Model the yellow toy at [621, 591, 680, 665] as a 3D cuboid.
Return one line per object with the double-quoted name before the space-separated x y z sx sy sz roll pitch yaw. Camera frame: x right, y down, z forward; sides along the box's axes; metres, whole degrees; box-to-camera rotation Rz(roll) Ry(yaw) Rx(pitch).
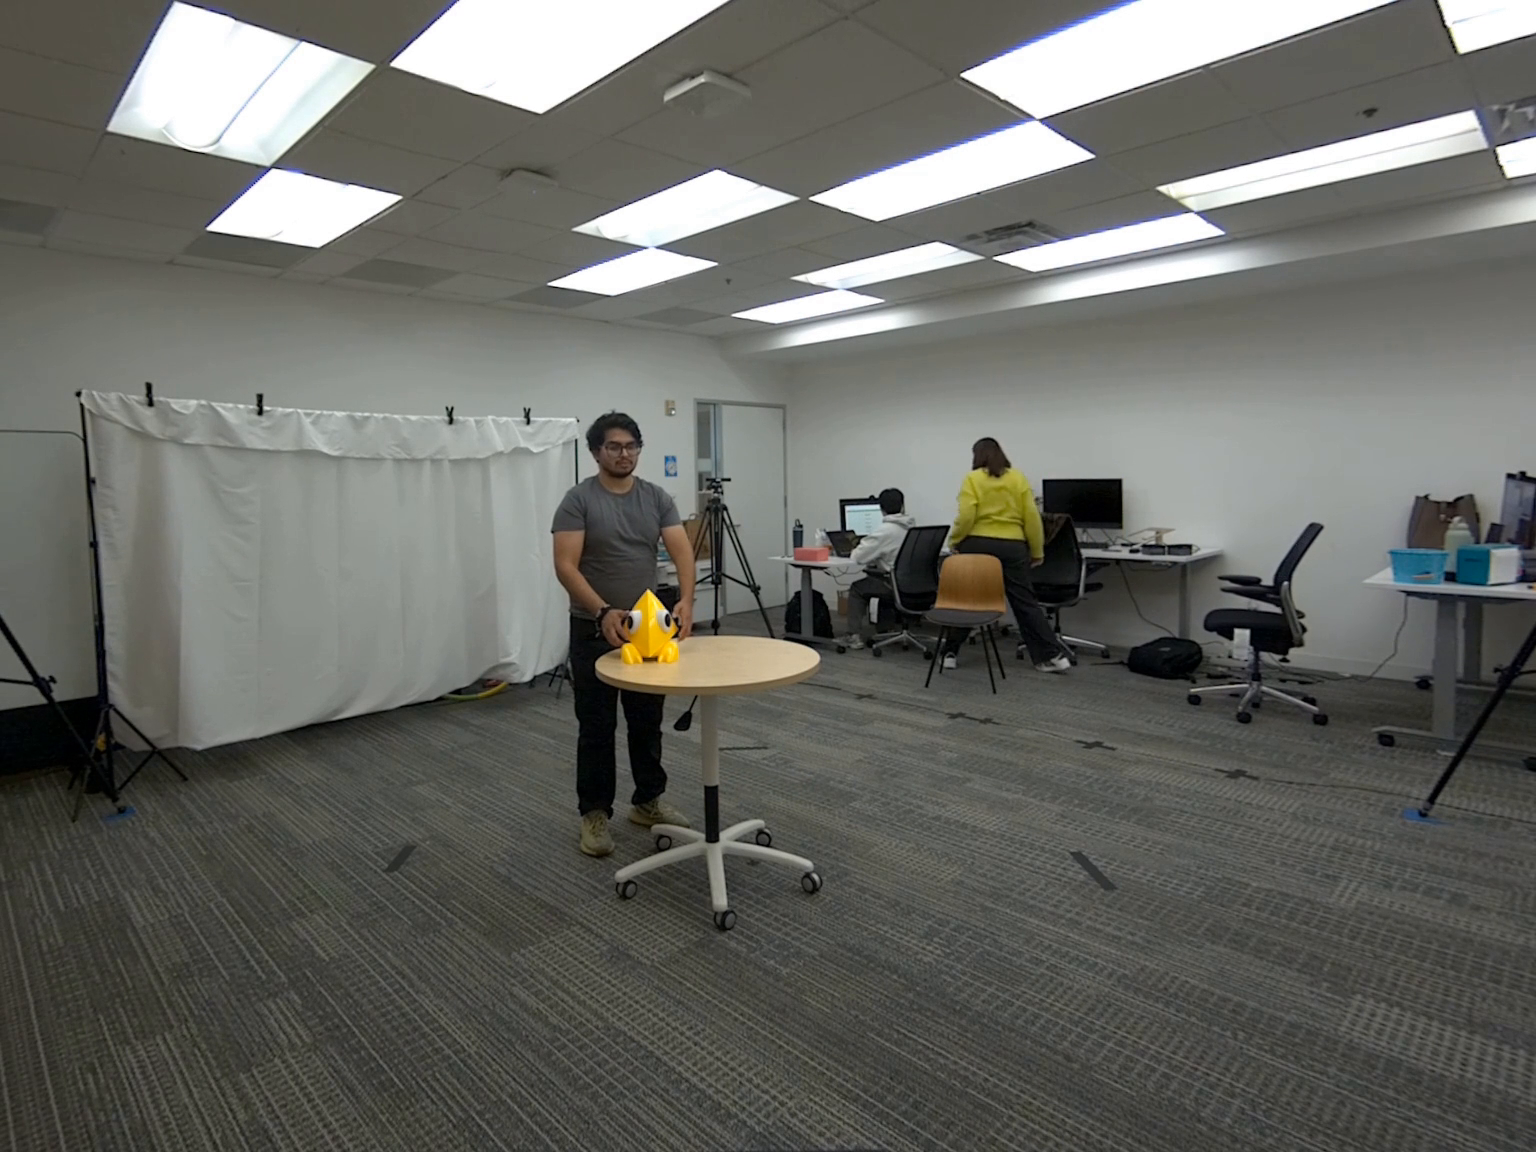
"yellow toy" -0.405 0.169 2.947 0.204 0.230 0.194 -1 4 -5
